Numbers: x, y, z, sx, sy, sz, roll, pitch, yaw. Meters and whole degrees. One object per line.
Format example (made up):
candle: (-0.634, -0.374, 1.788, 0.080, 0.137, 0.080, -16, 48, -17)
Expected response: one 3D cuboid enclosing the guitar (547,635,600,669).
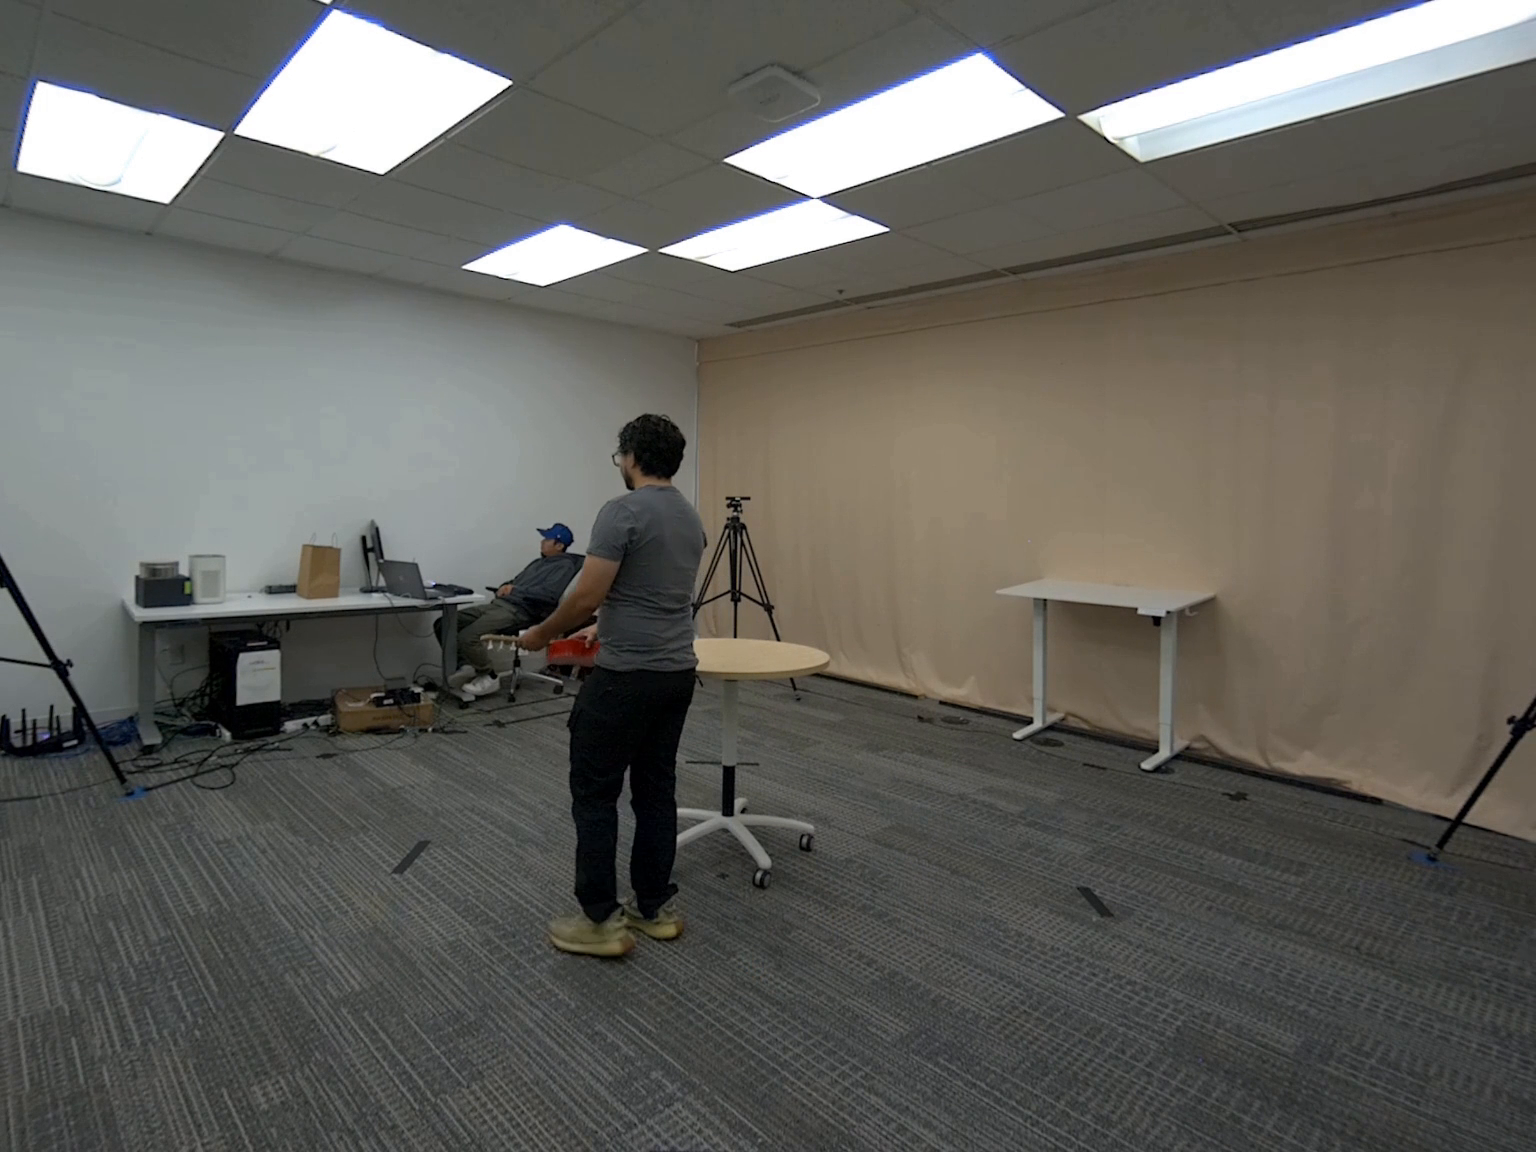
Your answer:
guitar: (-0.721, 0.256, 2.822, 0.489, 0.071, 0.194, 2, -17, -25)
